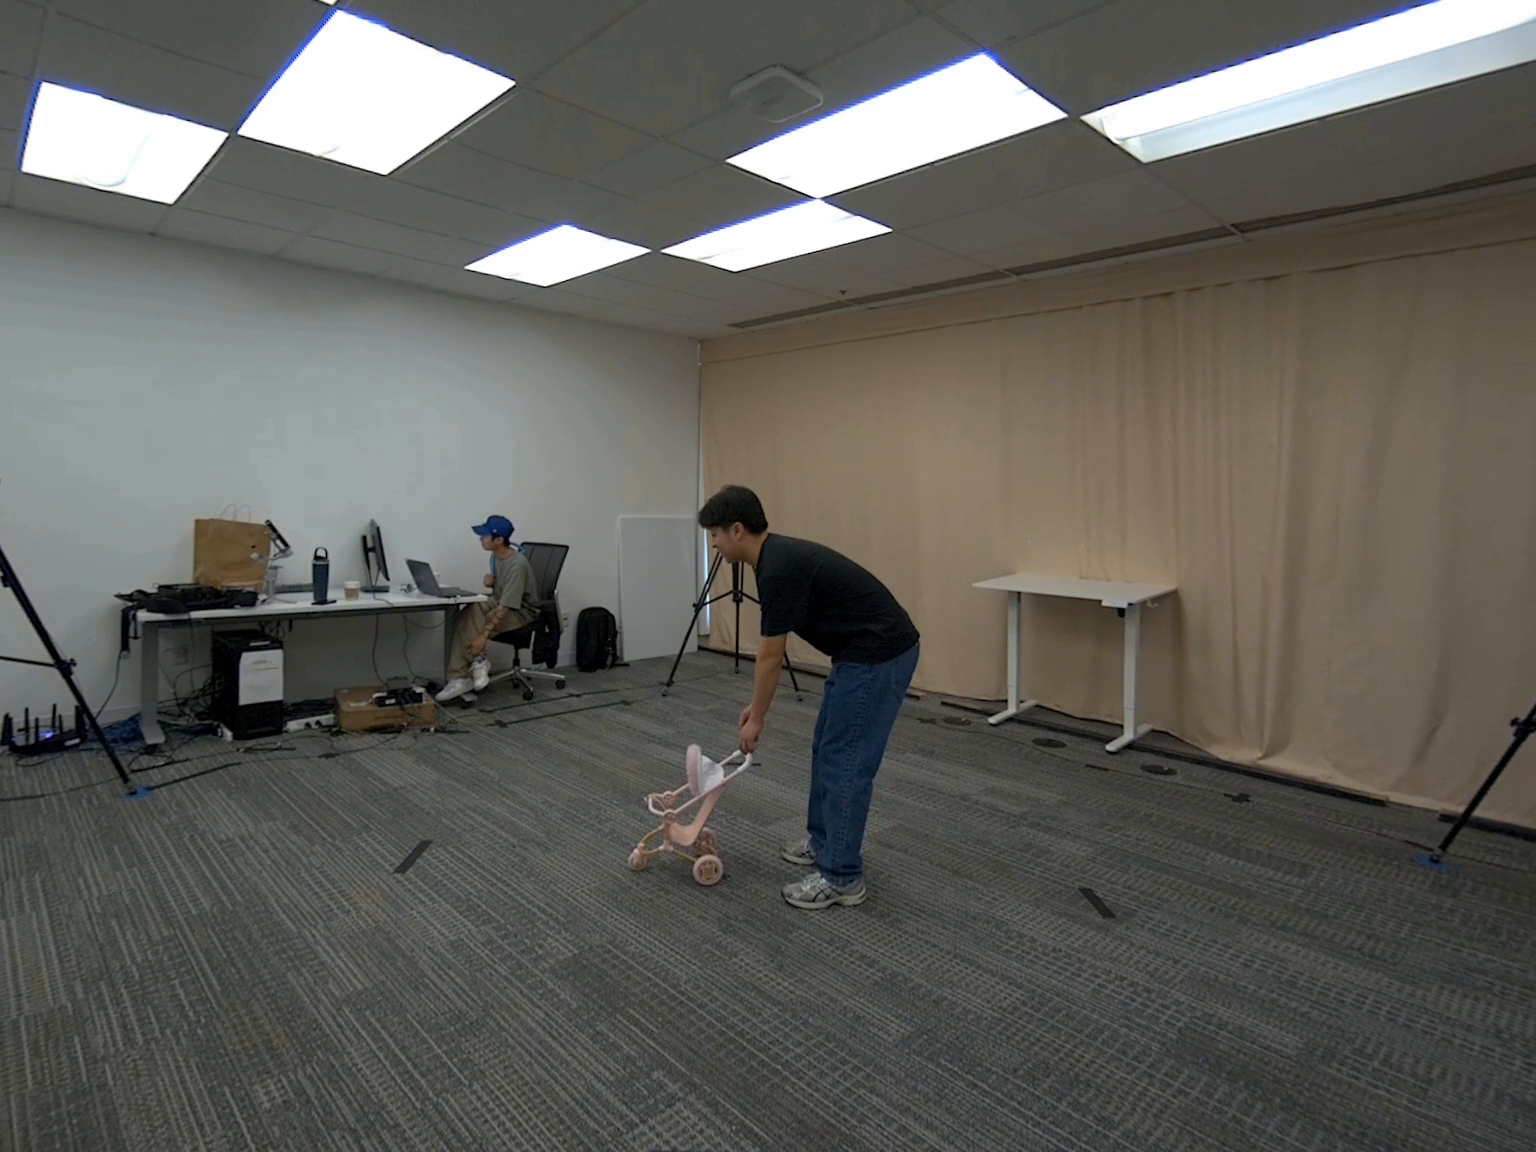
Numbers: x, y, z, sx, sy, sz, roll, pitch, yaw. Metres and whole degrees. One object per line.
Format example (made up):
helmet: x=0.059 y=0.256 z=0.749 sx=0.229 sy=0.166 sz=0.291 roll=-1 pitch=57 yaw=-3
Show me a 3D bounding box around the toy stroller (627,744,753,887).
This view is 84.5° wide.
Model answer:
toy stroller: x=-0.301 y=0.873 z=3.135 sx=0.340 sy=0.534 sz=0.282 roll=16 pitch=3 yaw=-3
